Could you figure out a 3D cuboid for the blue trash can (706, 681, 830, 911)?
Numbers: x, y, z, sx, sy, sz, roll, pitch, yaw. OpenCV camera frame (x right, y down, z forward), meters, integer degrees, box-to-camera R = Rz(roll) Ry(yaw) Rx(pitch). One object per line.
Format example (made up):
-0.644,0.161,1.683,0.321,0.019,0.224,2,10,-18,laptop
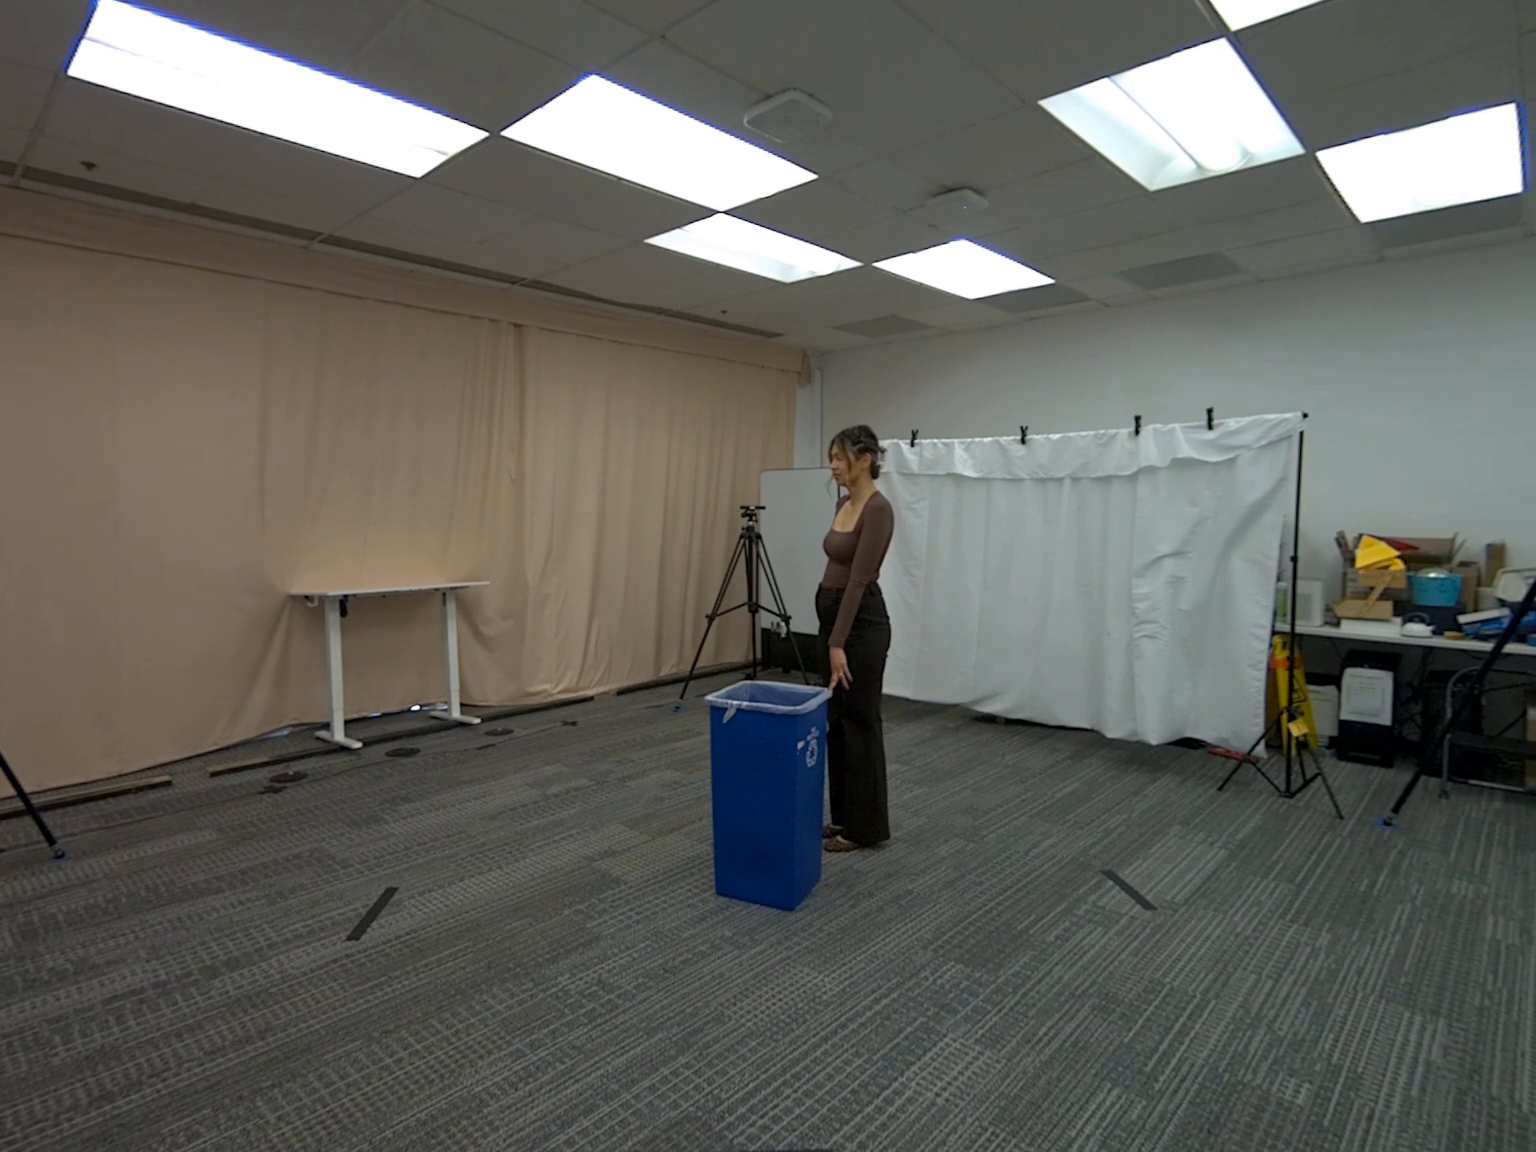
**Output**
0.007,0.778,3.070,0.388,0.712,0.365,2,4,25,blue trash can
